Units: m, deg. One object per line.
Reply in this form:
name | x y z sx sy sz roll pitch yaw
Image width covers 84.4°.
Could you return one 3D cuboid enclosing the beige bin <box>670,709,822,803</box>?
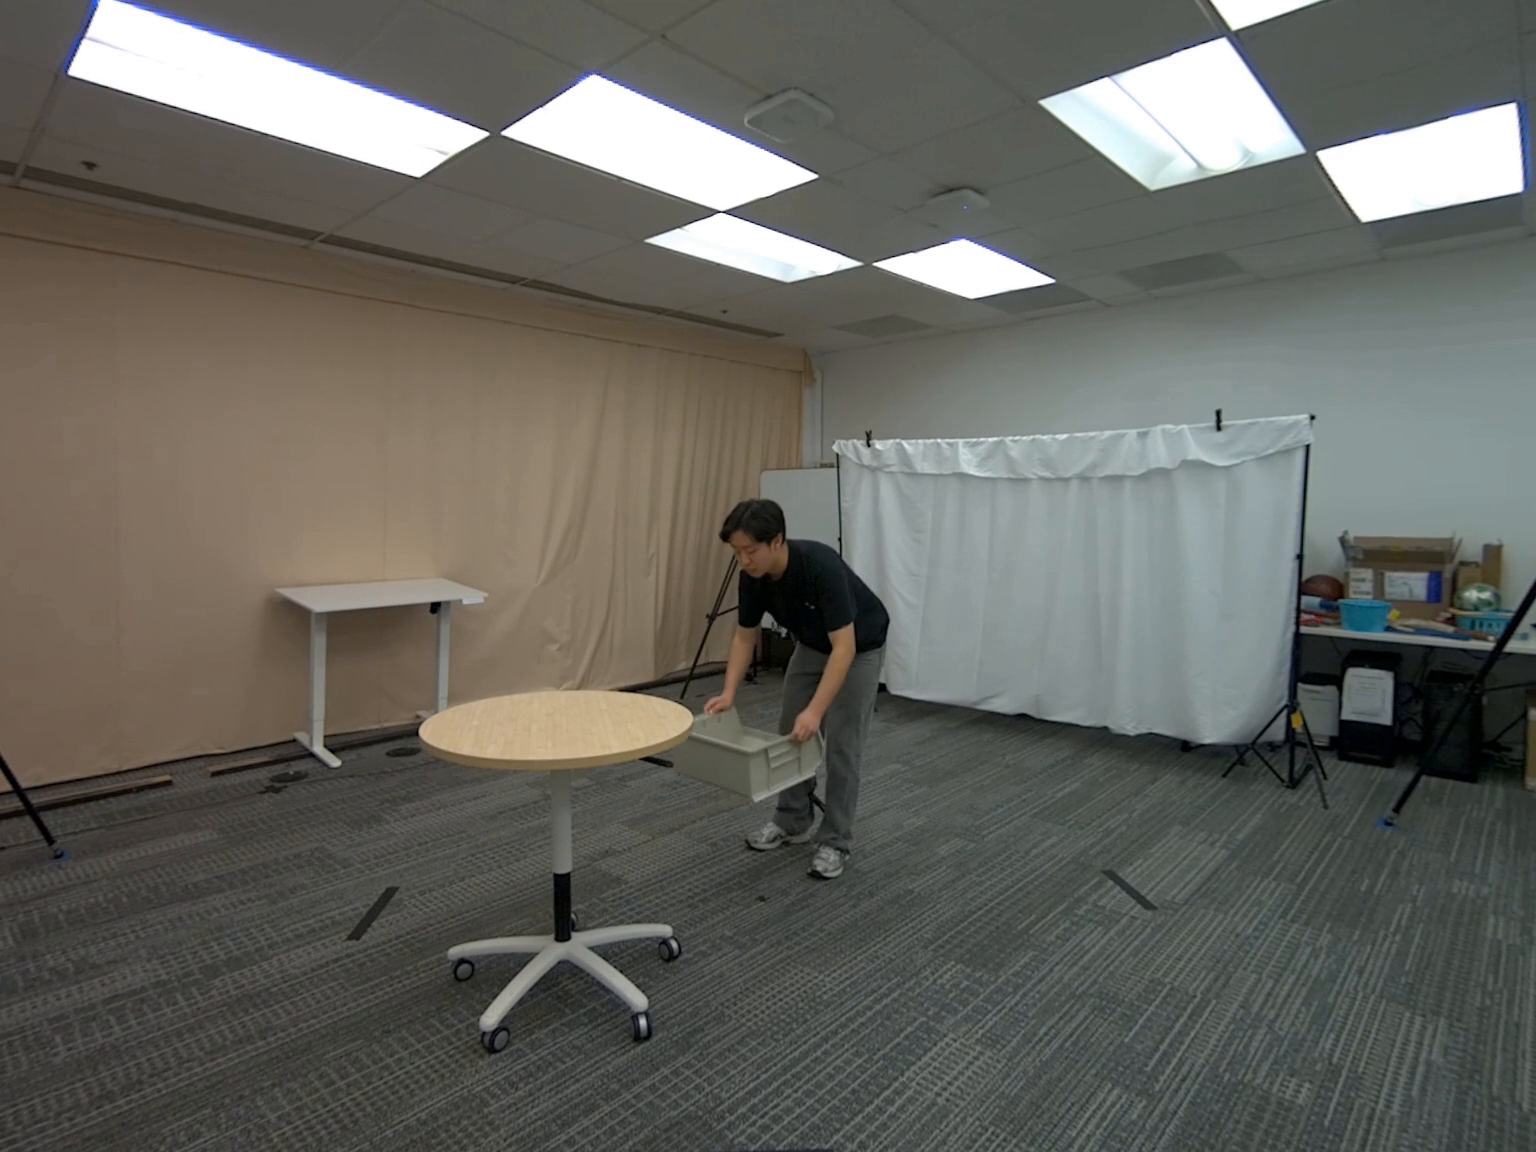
beige bin | -0.083 0.611 2.986 0.436 0.188 0.366 5 11 44
